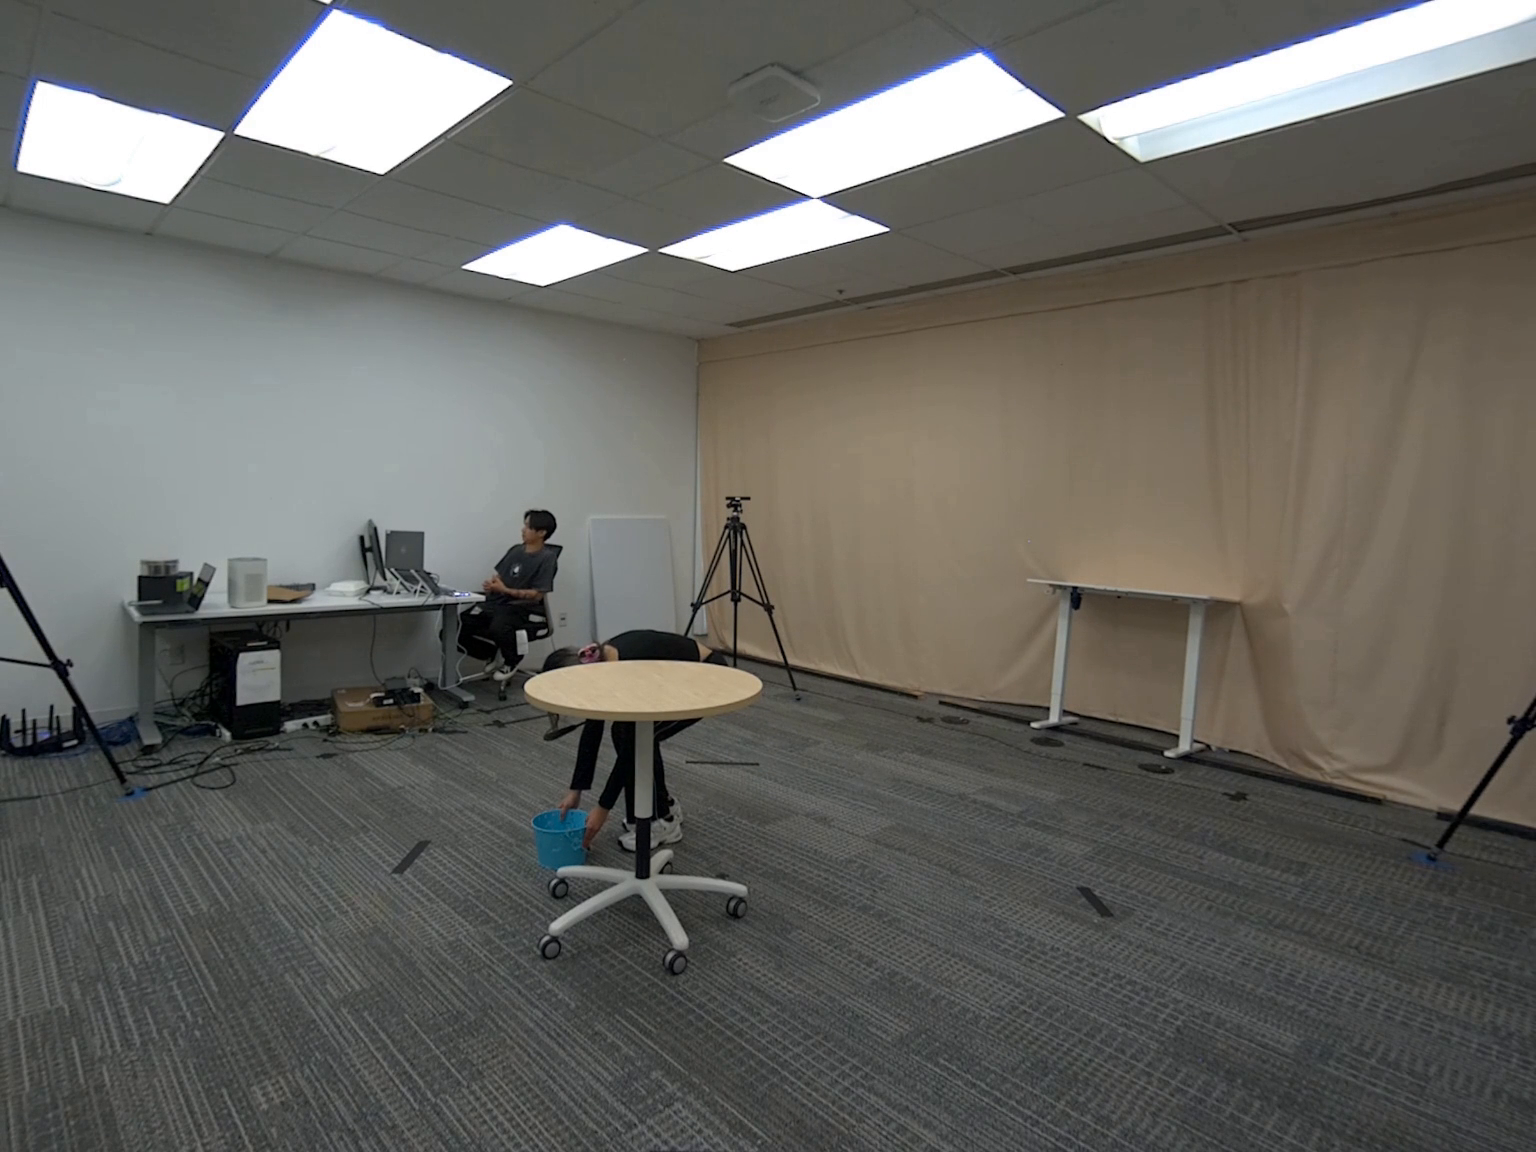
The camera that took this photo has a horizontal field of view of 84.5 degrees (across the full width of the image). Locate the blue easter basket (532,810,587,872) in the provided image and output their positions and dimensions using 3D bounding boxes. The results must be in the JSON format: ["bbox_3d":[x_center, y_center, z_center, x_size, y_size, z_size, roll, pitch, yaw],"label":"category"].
[{"bbox_3d":[-0.791,1.005,3.211,0.243,0.155,0.244,1,5,-1],"label":"blue easter basket"}]
